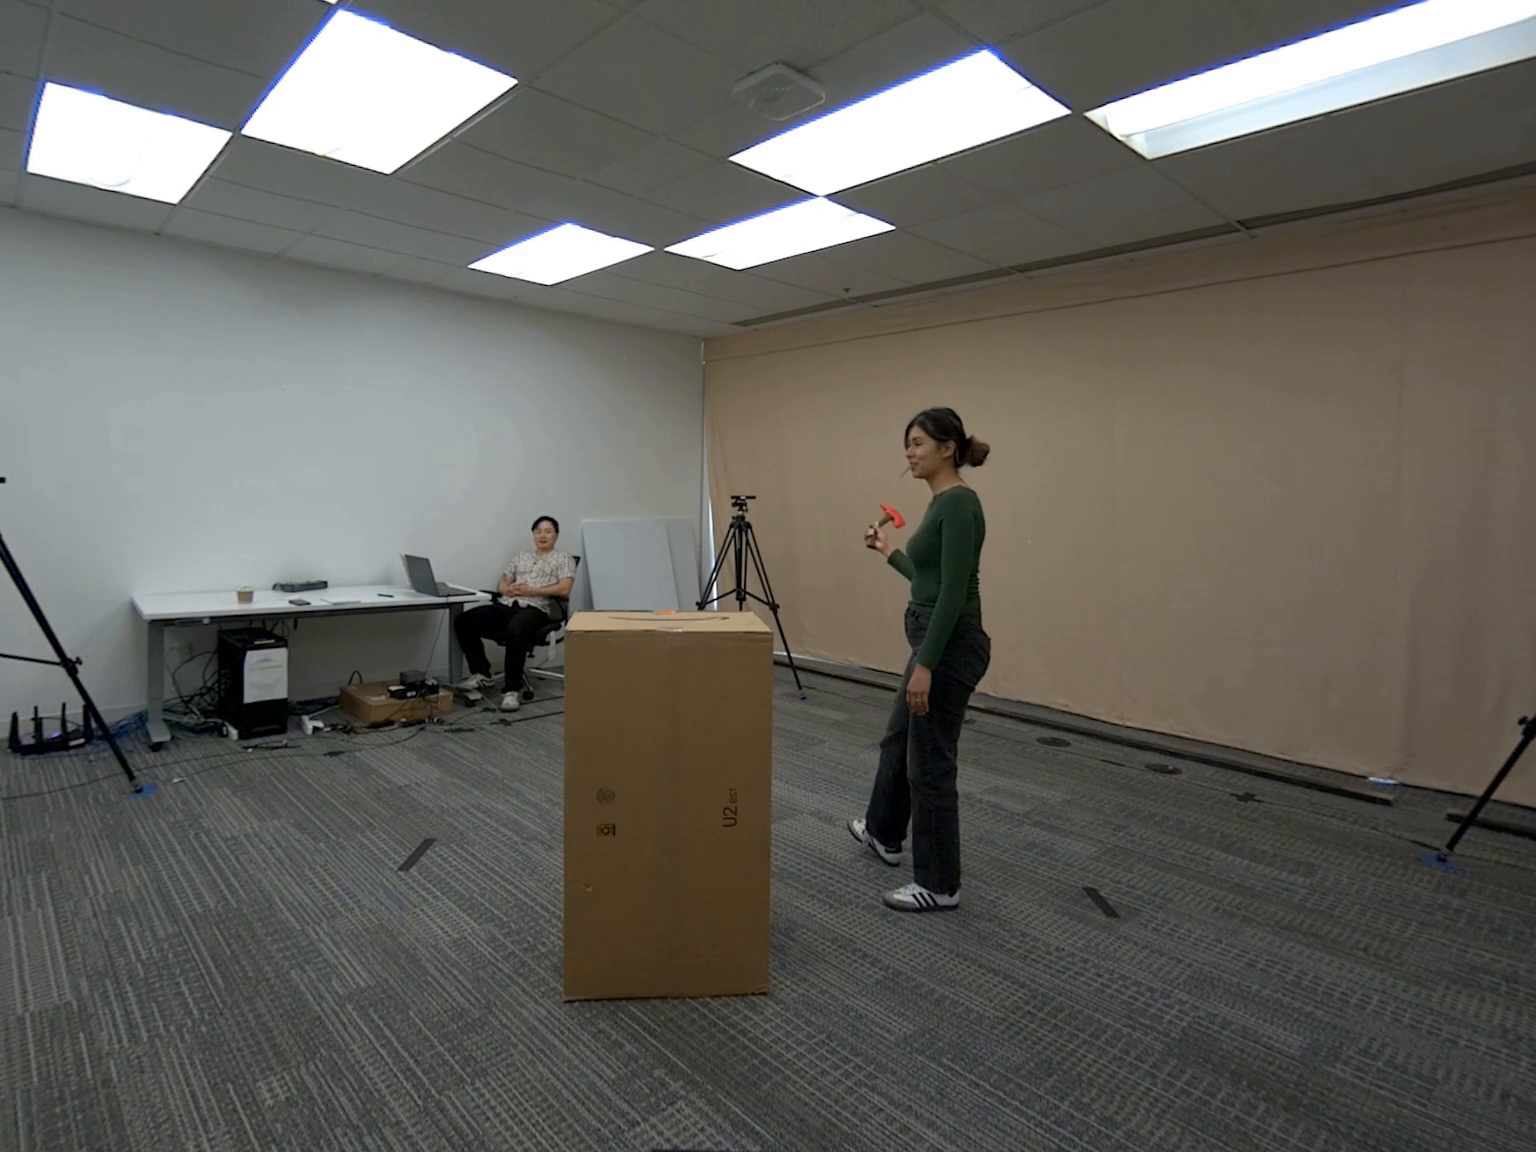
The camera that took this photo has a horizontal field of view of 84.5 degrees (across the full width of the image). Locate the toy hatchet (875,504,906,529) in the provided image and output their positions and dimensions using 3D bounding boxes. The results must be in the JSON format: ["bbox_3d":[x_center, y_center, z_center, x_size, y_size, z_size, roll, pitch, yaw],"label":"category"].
[{"bbox_3d":[0.478,-0.180,3.368,0.130,0.273,0.029,26,-43,-5],"label":"toy hatchet"}]
